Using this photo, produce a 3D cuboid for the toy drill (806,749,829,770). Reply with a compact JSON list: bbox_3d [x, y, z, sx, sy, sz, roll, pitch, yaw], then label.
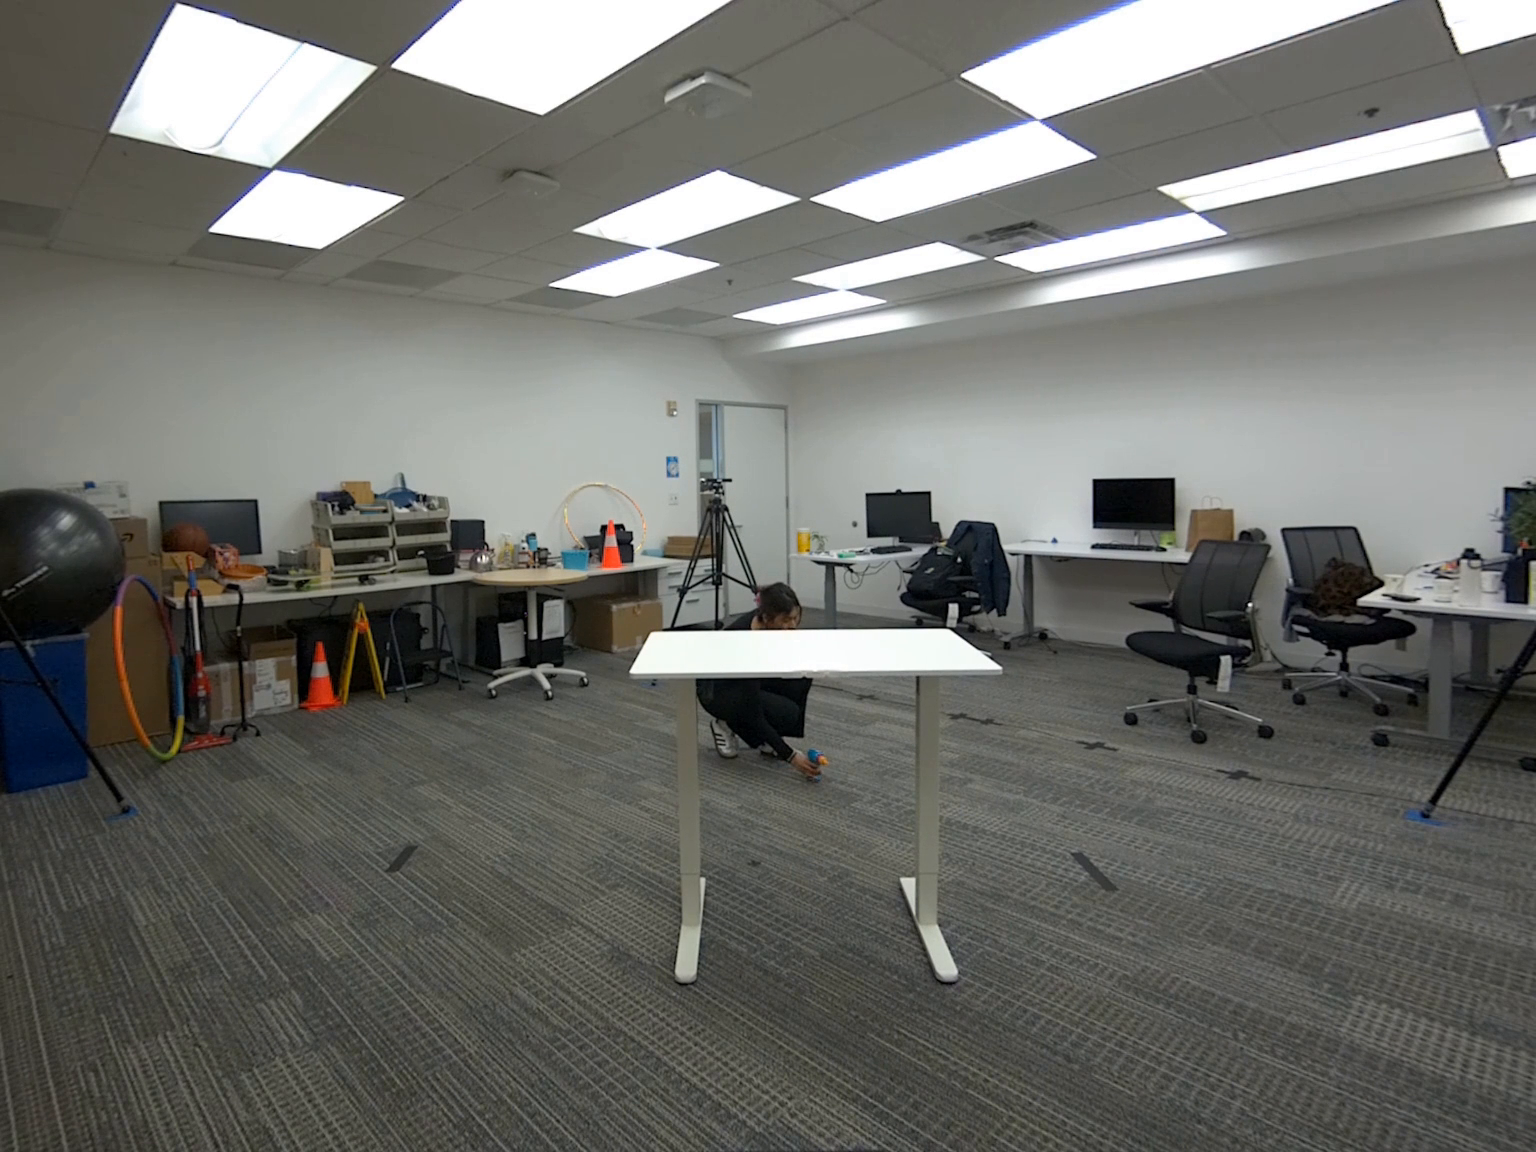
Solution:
[{"bbox_3d":[0.230,0.879,3.934,0.060,0.145,0.174,-4,7,-27],"label":"toy drill"}]
